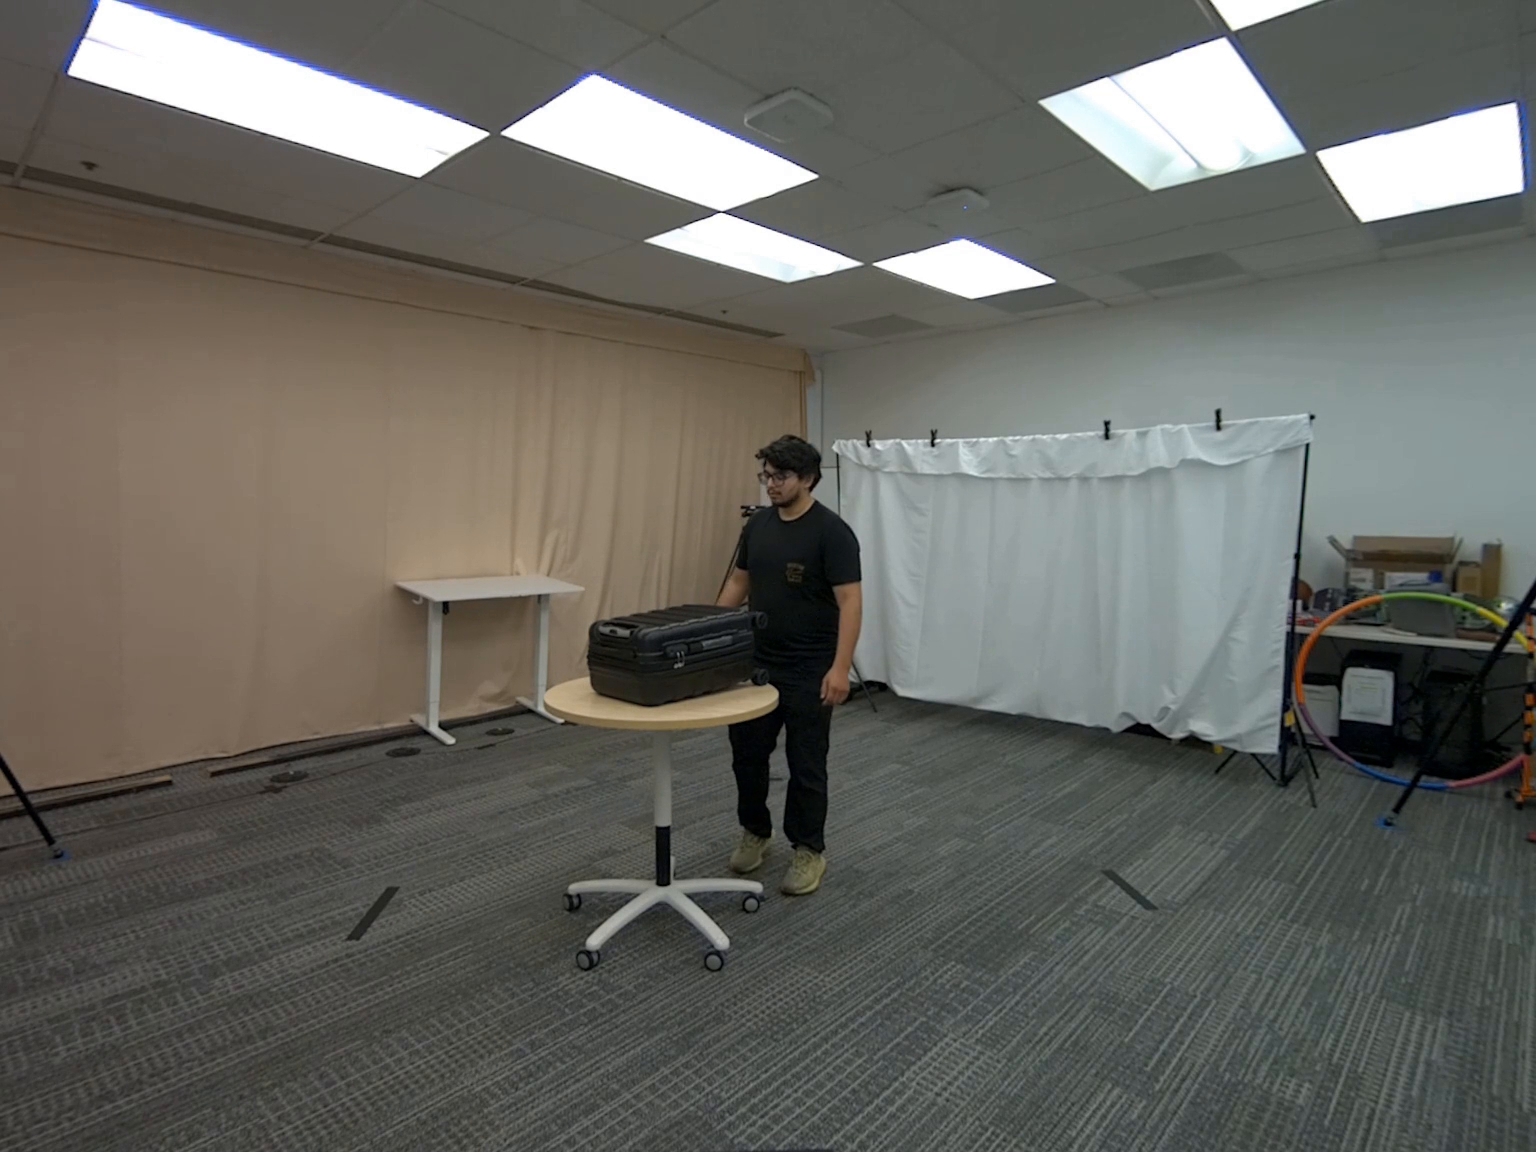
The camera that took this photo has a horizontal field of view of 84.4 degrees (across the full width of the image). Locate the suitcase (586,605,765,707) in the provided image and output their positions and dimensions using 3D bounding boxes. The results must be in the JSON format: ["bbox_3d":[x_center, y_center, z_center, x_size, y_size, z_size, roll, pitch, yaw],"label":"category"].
[{"bbox_3d":[-0.303,0.252,2.796,0.388,0.247,0.533,3,7,43],"label":"suitcase"}]
